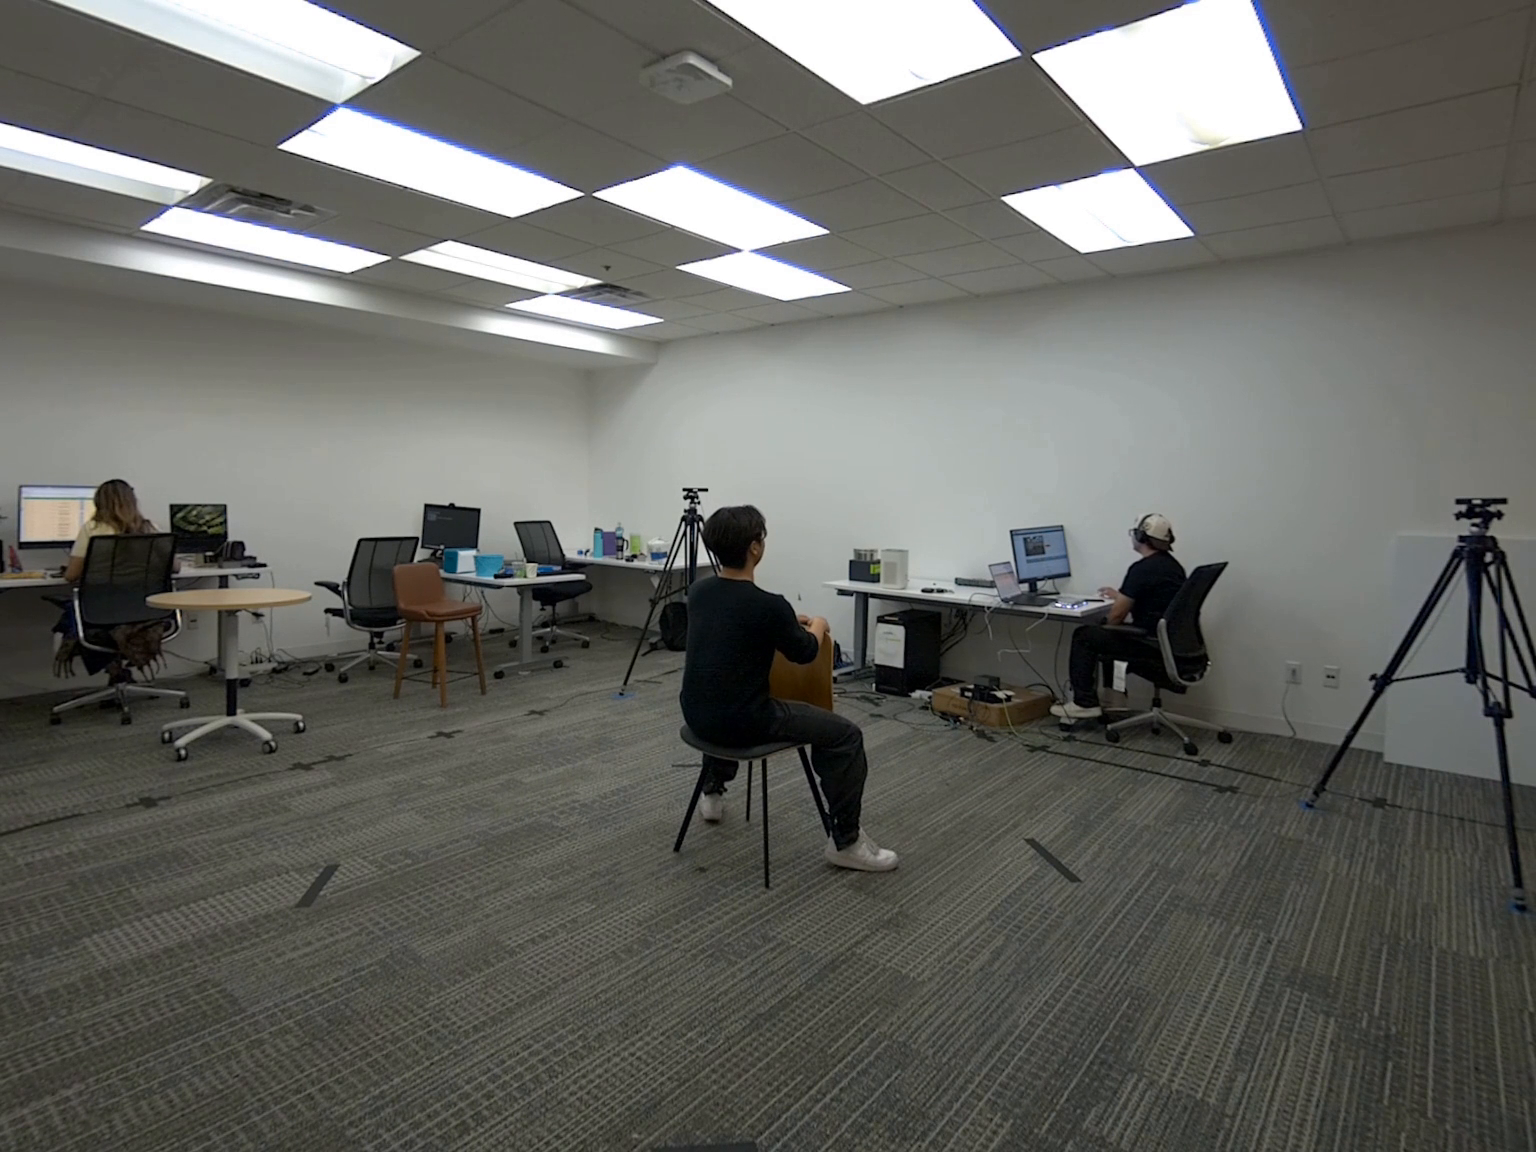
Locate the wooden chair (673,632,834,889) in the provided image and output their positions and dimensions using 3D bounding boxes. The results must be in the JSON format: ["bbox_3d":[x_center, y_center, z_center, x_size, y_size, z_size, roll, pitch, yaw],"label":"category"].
[{"bbox_3d":[-0.052,0.628,3.241,0.494,0.877,0.506,4,1,39],"label":"wooden chair"}]
